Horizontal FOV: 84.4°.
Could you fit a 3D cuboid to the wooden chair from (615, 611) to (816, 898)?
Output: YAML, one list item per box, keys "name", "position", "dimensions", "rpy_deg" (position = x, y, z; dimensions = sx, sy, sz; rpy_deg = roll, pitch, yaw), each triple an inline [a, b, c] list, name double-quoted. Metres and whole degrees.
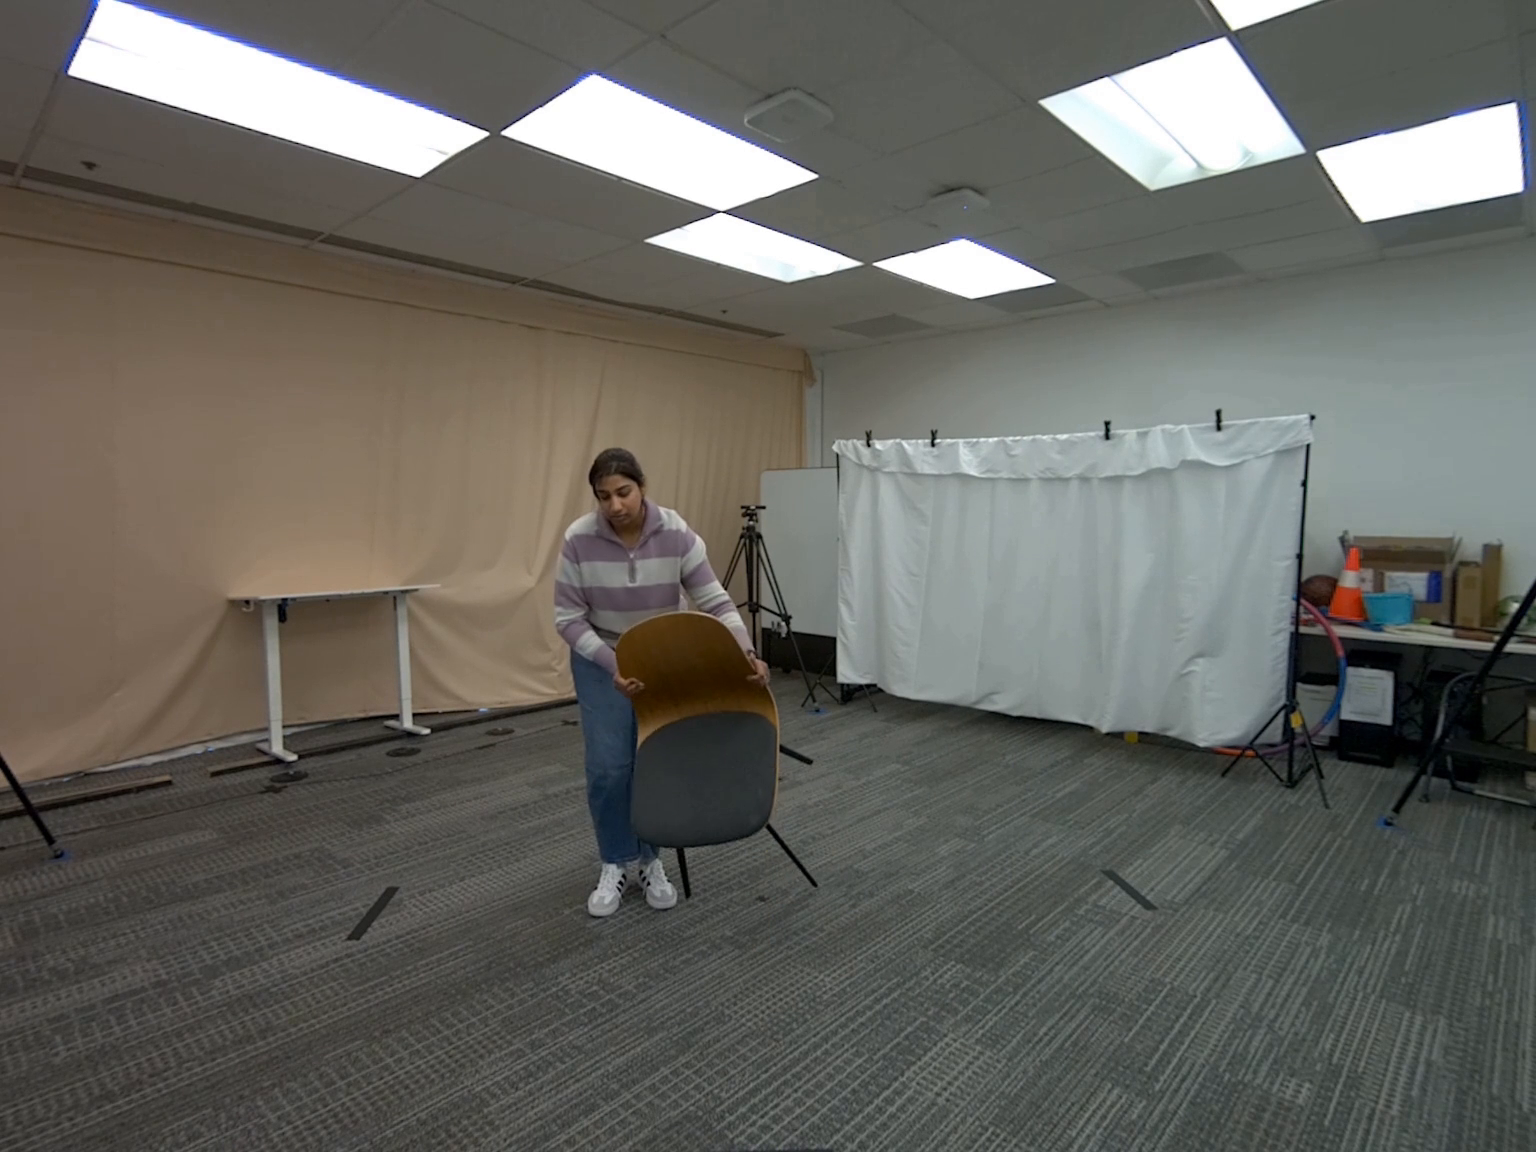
- name: "wooden chair"
  position: [-0.177, 0.603, 2.615]
  dimensions: [0.485, 0.852, 0.531]
  rpy_deg: [-10, 42, 15]
